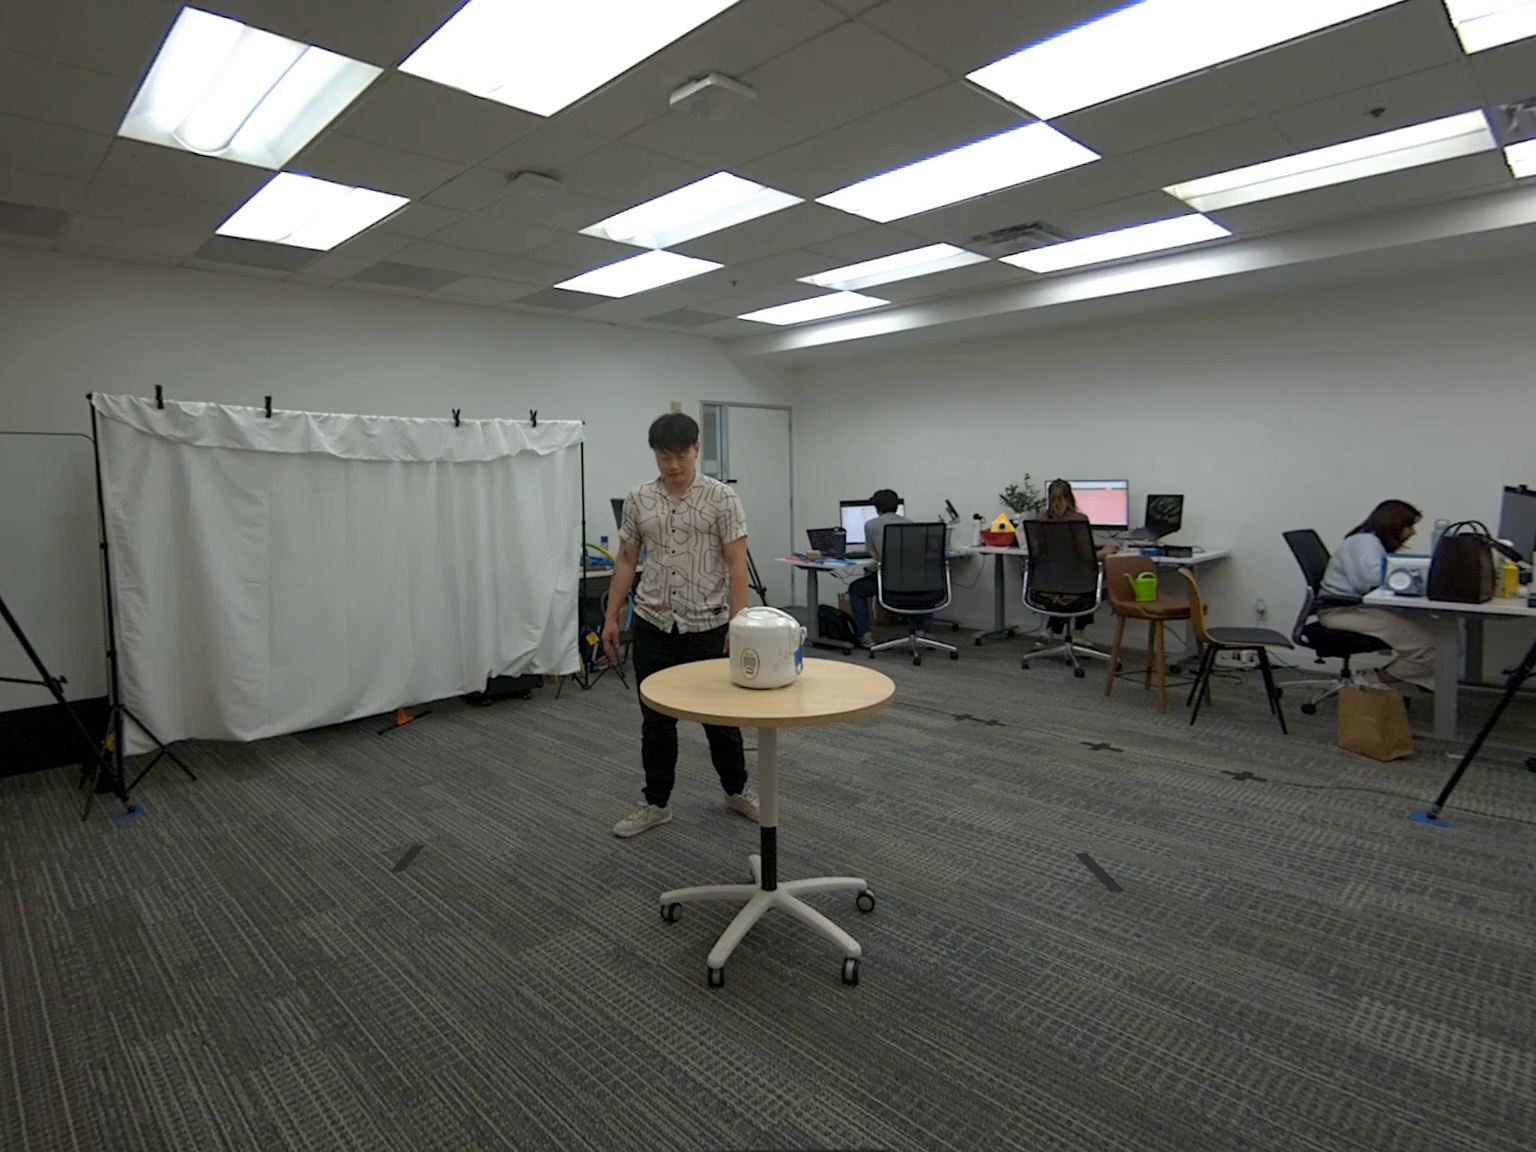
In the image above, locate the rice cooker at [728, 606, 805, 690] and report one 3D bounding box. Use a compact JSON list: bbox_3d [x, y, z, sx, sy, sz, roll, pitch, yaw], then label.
[{"bbox_3d":[-0.005,0.210,2.581,0.225,0.232,0.213,0,4,23],"label":"rice cooker"}]
